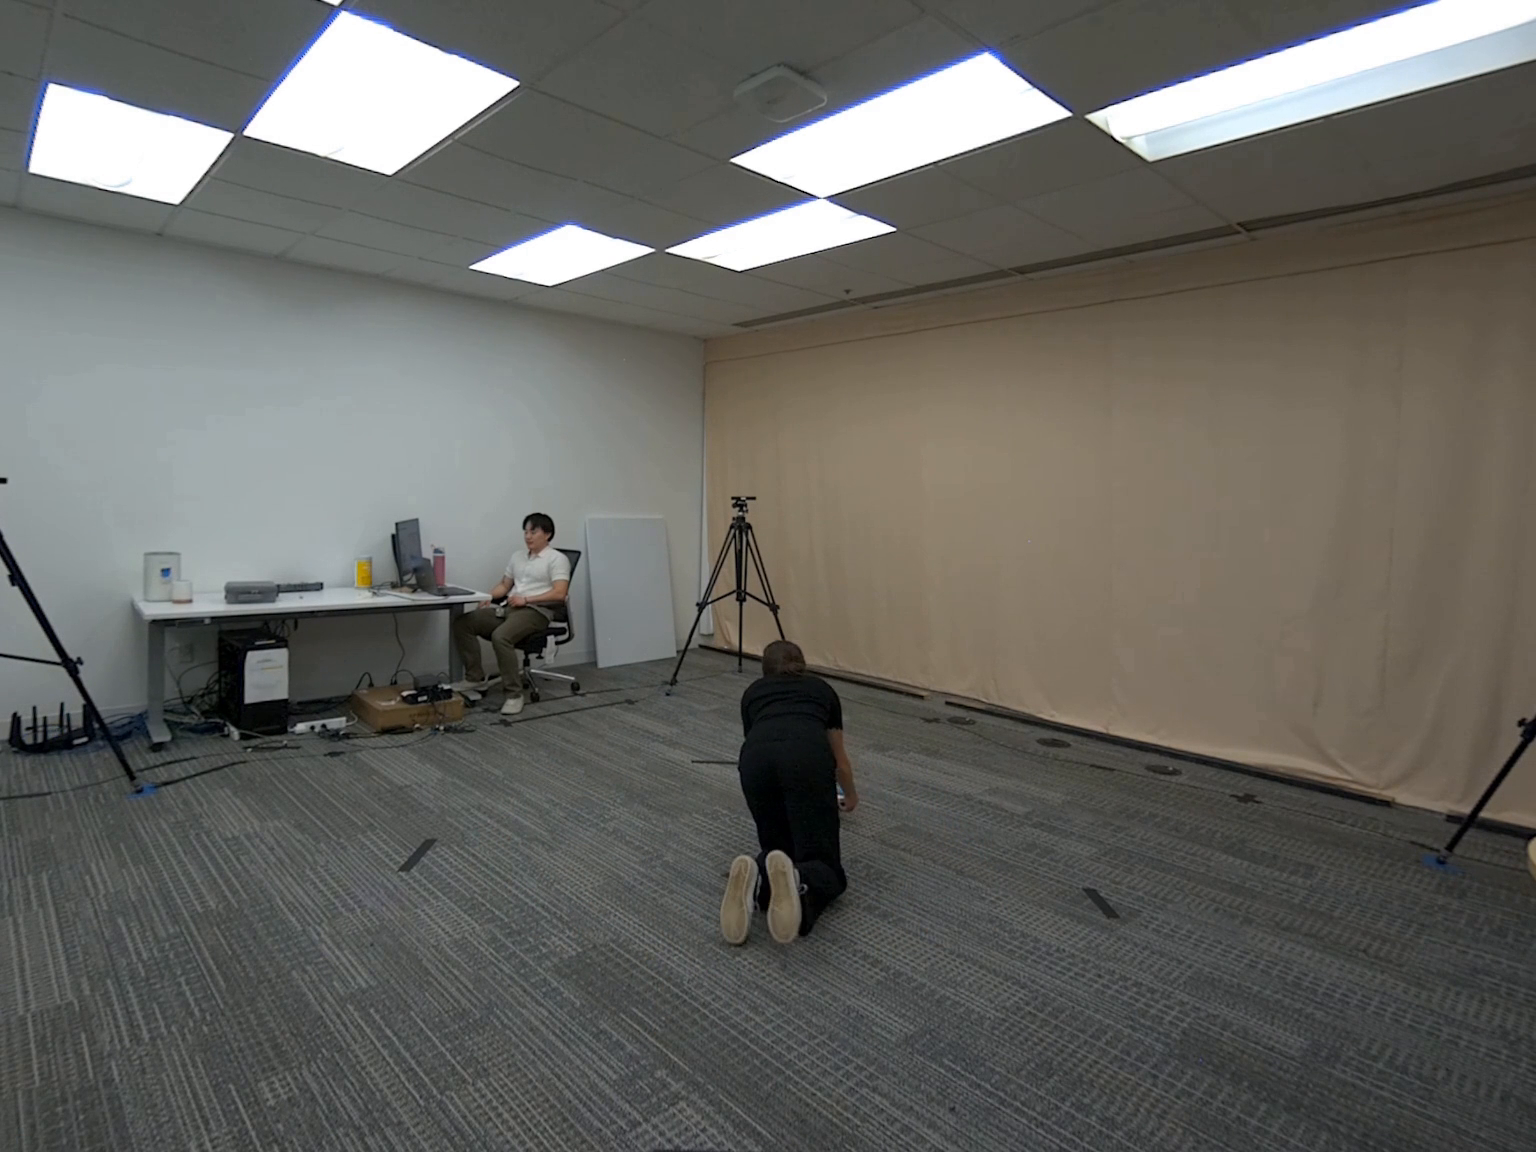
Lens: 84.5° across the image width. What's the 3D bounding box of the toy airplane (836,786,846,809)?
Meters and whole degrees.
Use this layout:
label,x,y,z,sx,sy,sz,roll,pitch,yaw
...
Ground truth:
label,x,y,z,sx,sy,sz,roll,pitch,yaw
toy airplane,0.271,0.969,3.761,0.262,0.158,0.245,-14,-11,22
